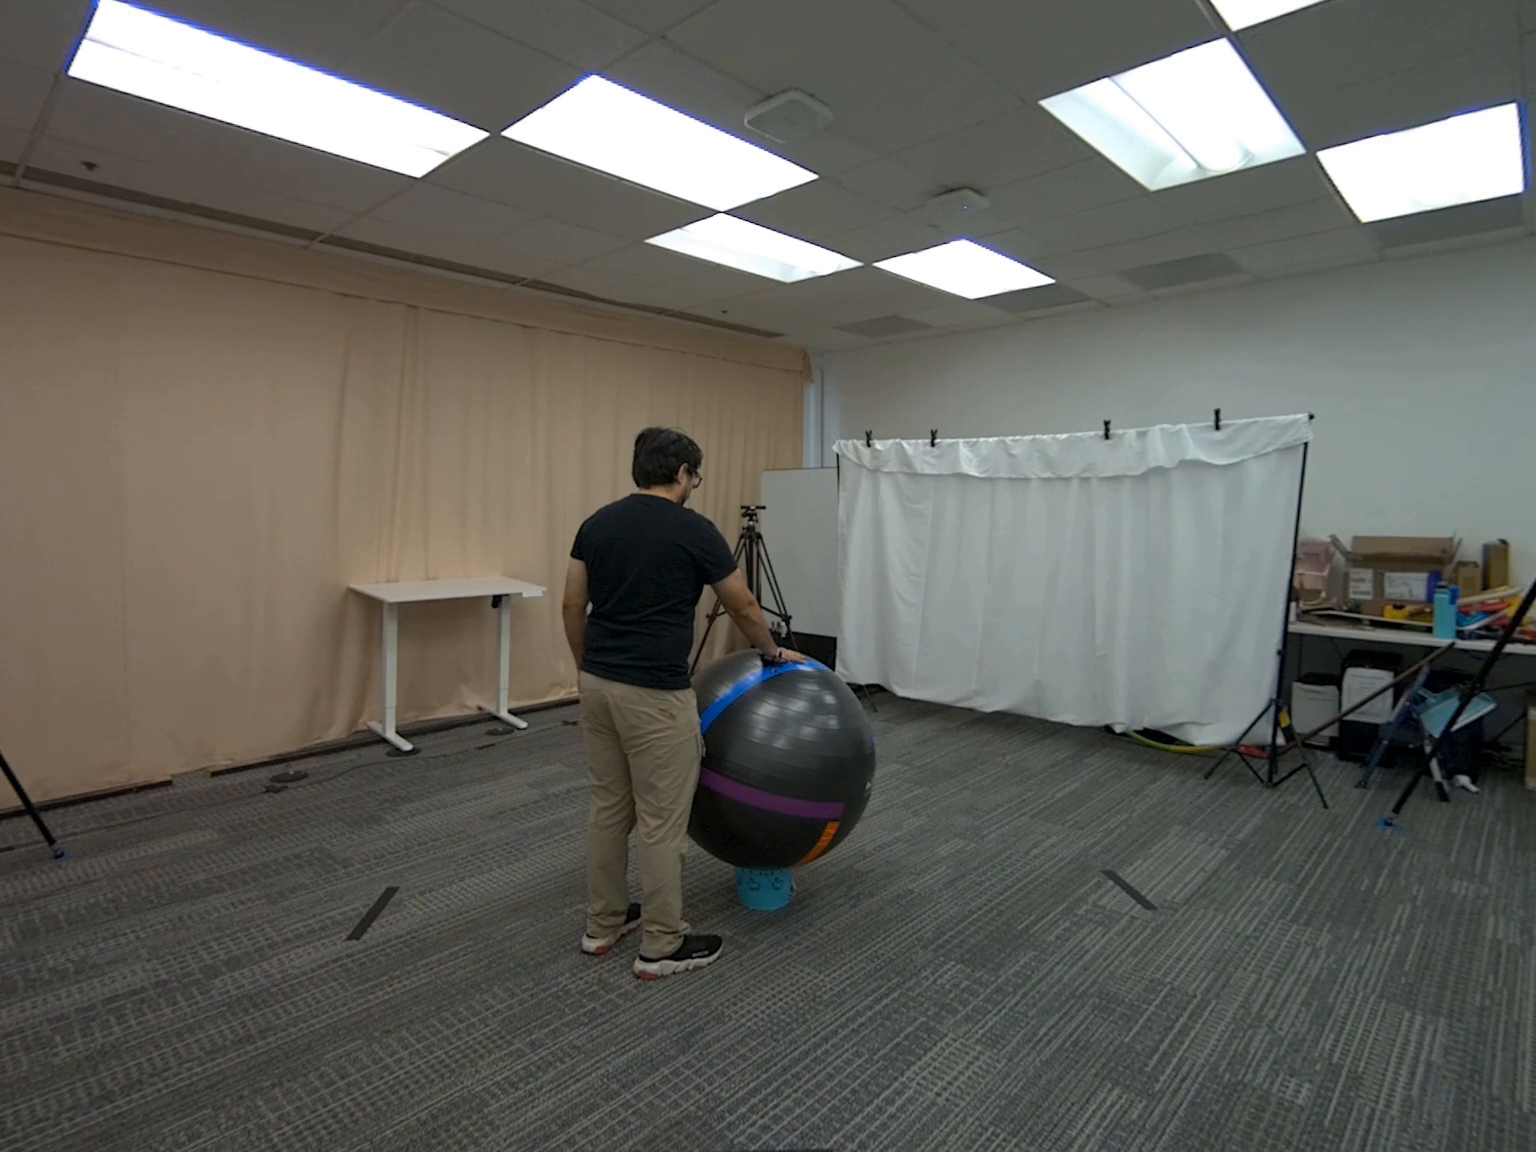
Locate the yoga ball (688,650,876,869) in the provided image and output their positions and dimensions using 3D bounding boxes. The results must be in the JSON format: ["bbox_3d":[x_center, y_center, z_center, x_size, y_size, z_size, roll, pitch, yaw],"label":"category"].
[{"bbox_3d":[-0.002,0.636,2.962,0.757,0.756,0.760,0,4,-2],"label":"yoga ball"}]
